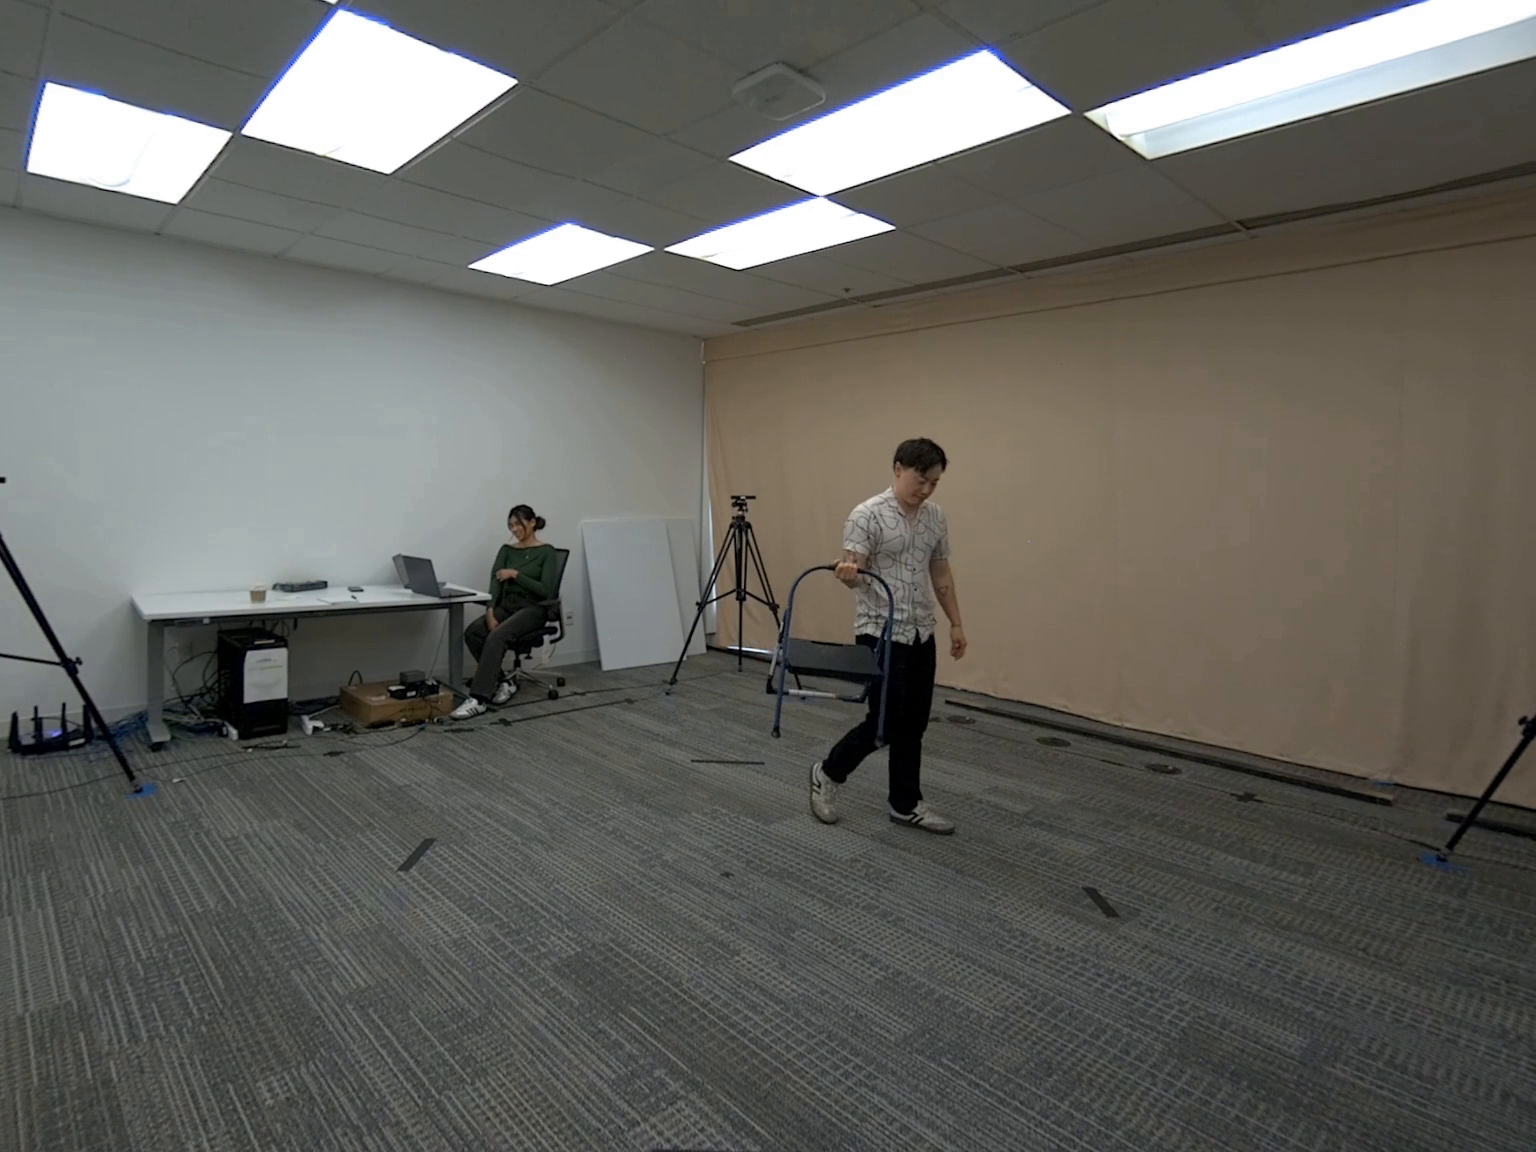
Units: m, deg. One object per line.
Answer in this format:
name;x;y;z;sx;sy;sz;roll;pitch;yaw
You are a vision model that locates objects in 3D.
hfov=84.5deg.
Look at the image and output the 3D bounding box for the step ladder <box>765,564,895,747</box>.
step ladder;0.249;0.274;3.188;0.428;0.600;0.355;7;17;-7
